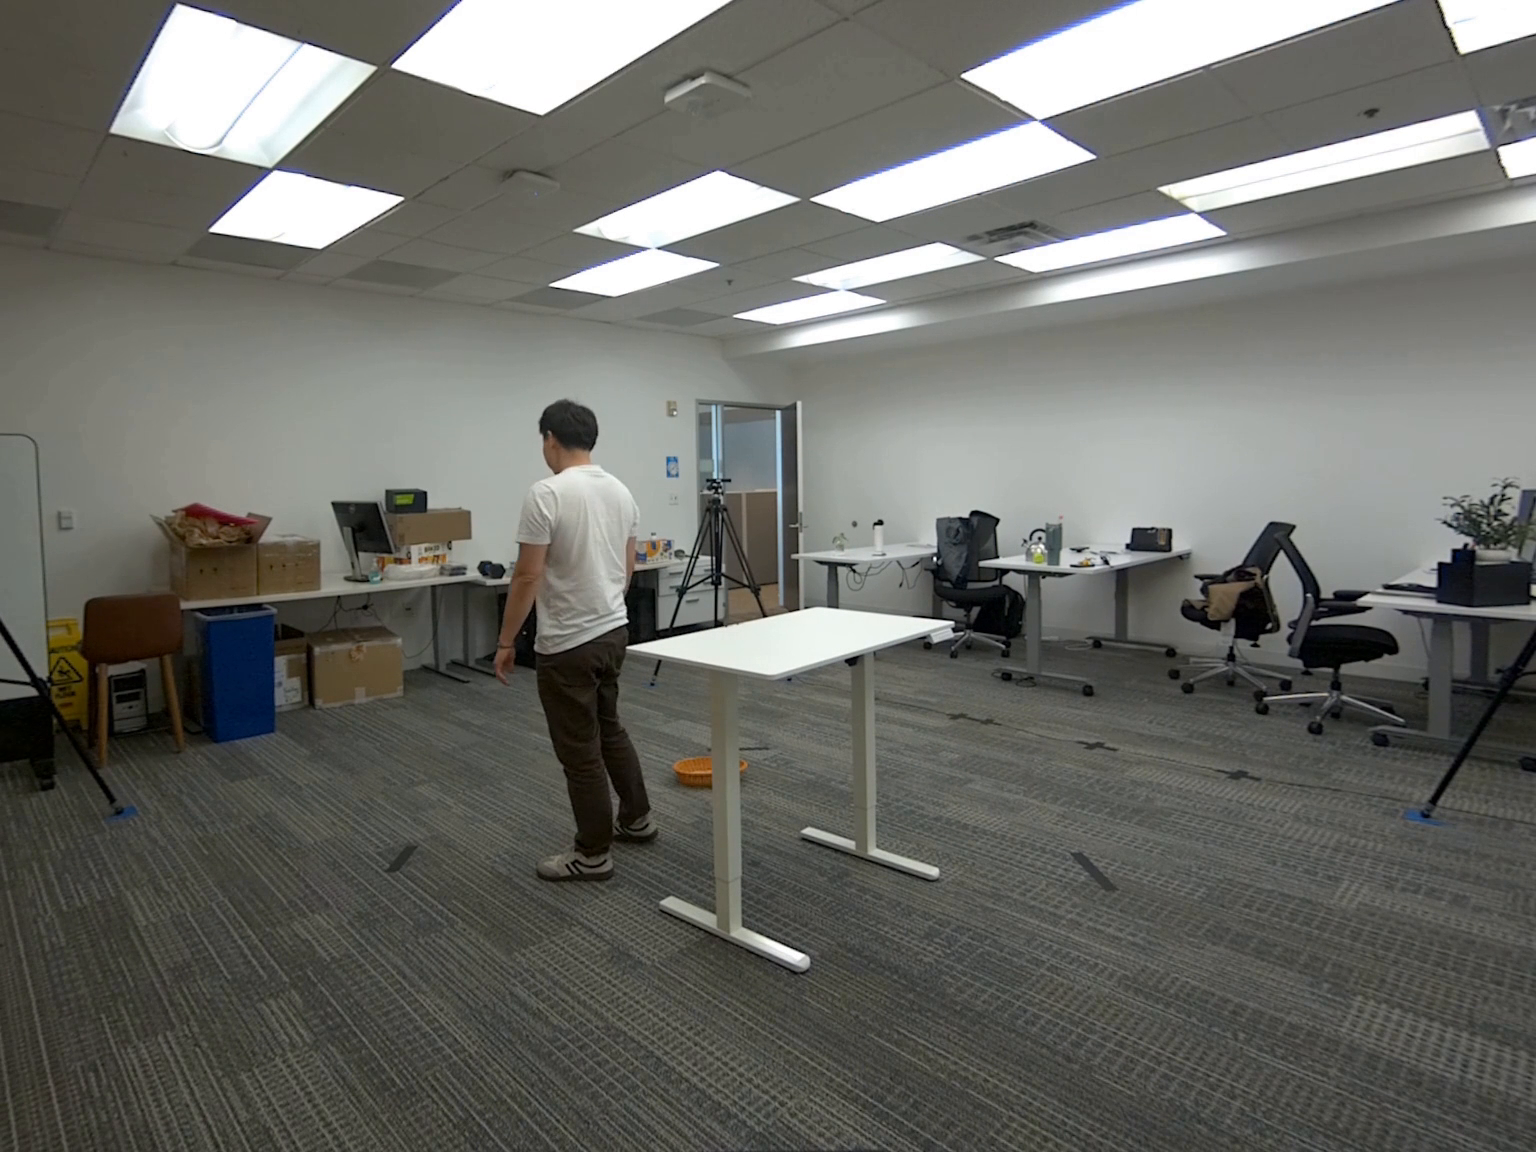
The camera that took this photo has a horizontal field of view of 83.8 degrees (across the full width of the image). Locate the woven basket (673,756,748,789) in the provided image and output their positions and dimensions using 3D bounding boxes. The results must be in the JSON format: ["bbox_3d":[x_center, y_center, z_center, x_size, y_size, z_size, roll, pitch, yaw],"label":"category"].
[{"bbox_3d":[-0.271,0.914,3.986,0.351,0.073,0.252,-1,5,3],"label":"woven basket"}]
